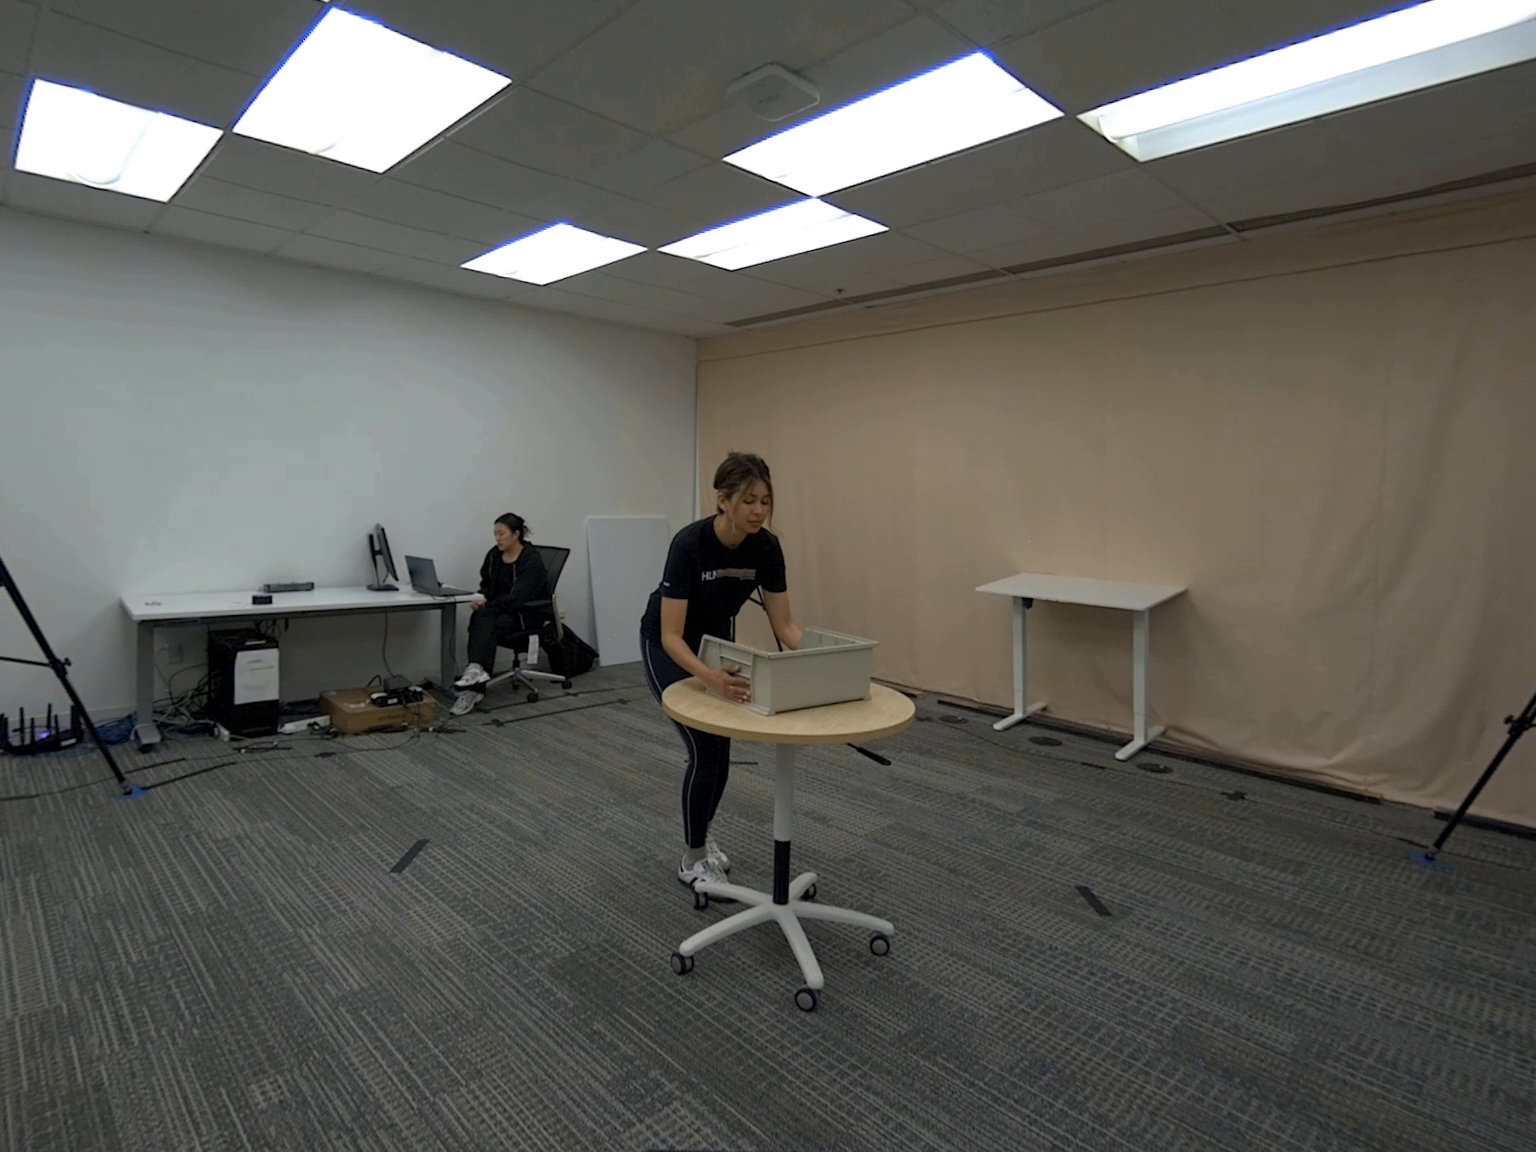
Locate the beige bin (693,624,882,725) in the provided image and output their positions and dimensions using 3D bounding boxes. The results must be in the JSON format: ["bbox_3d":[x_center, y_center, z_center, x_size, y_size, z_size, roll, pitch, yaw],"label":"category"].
[{"bbox_3d":[0.054,0.285,2.598,0.413,0.188,0.387,-1,7,-37],"label":"beige bin"}]
